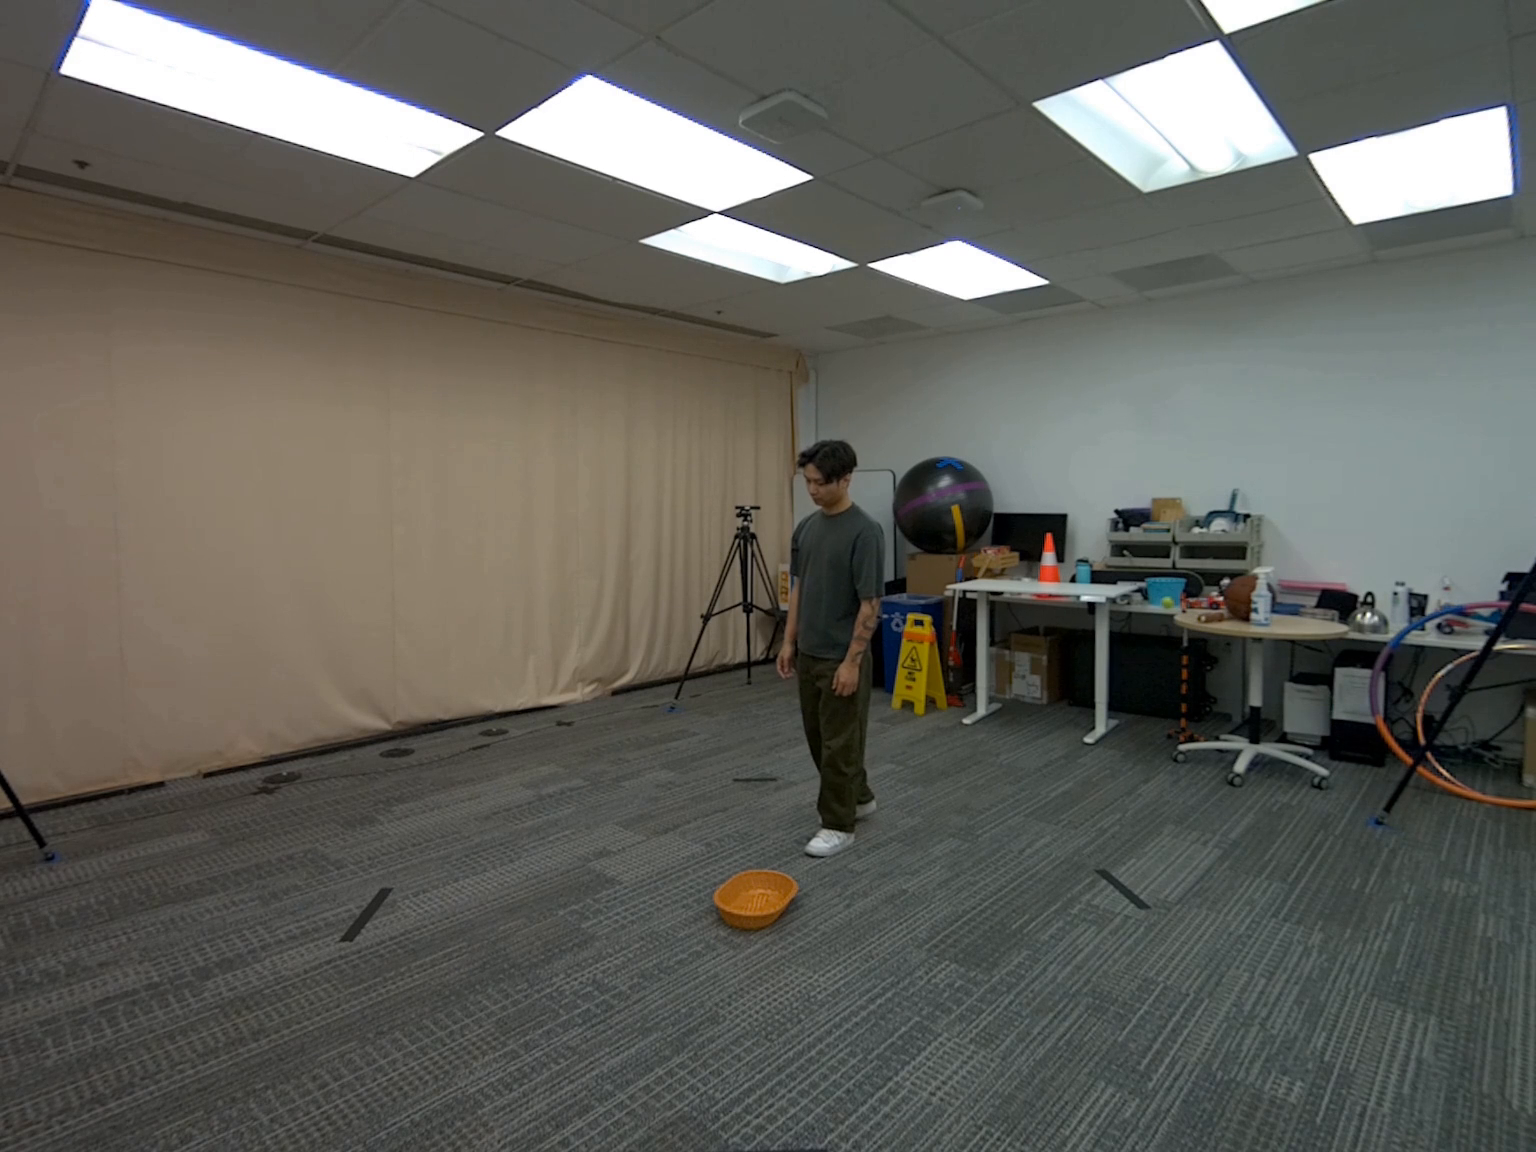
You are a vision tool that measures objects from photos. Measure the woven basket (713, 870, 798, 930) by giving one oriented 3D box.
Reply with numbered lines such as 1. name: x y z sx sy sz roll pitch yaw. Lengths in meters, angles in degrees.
1. woven basket: -0.036 1.111 2.894 0.259 0.073 0.342 3 5 27
